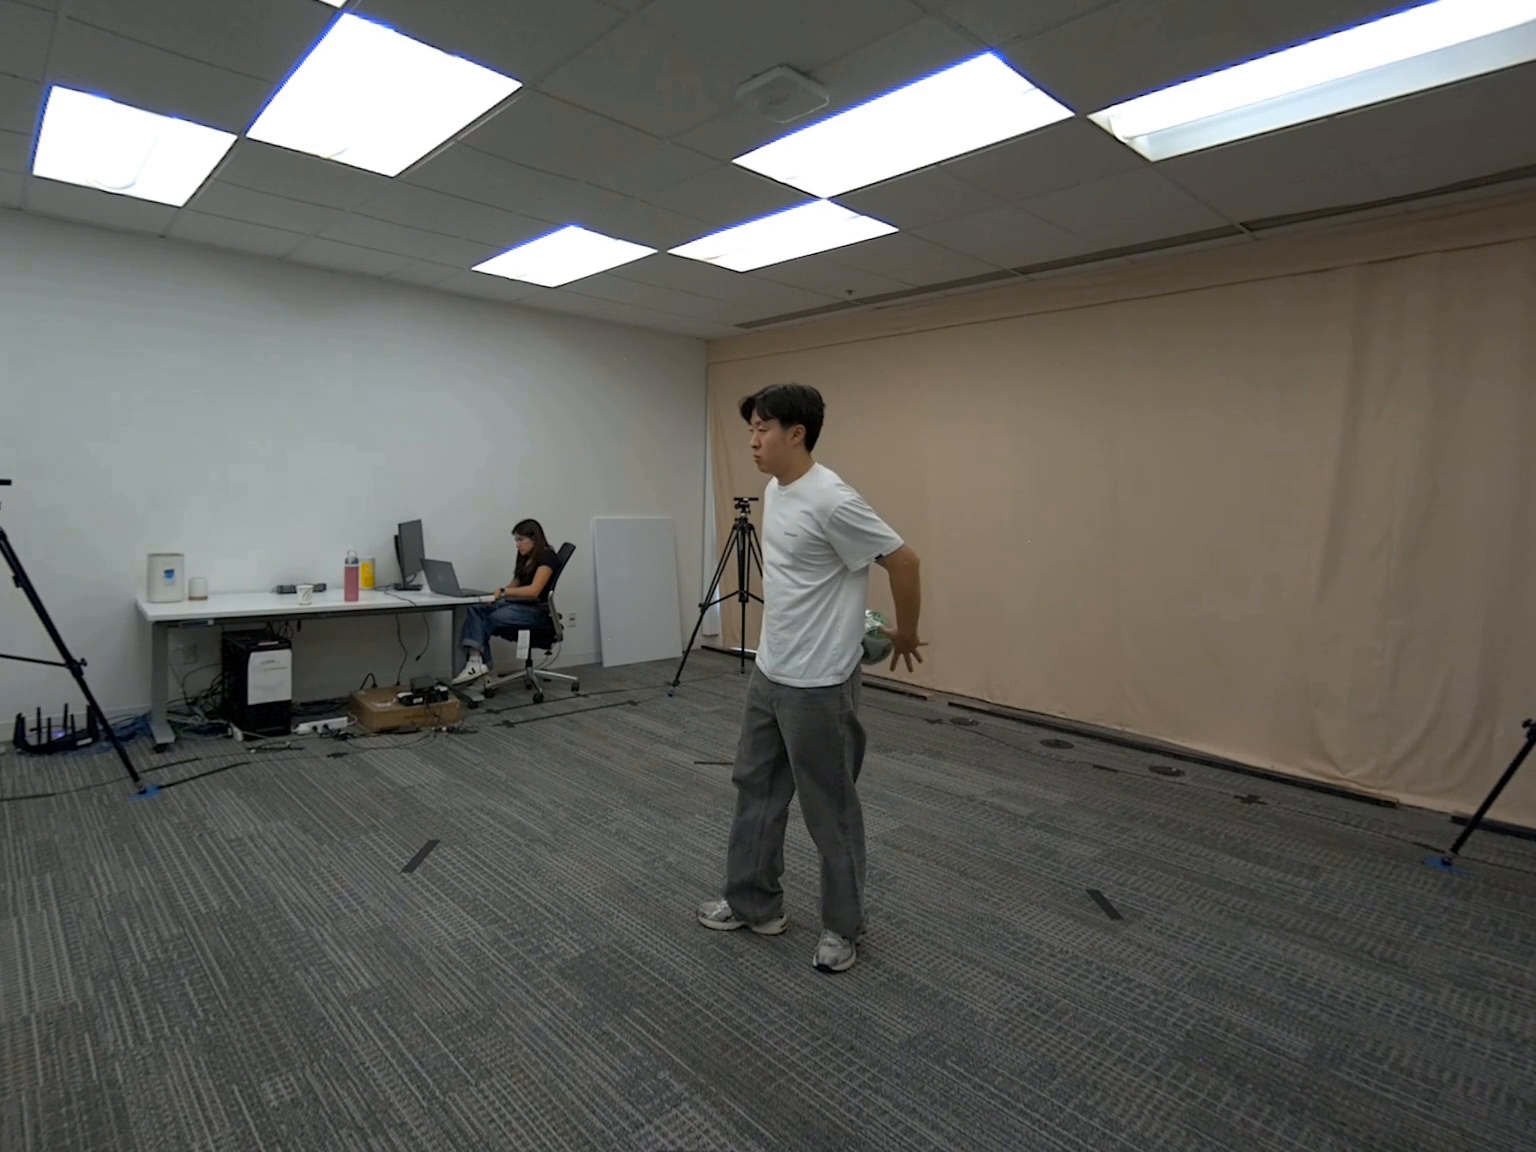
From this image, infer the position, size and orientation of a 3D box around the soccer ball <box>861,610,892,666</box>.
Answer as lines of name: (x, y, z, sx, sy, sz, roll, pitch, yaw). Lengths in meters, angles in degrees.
soccer ball: (0.294, 0.210, 2.816, 0.187, 0.187, 0.188, 1, 4, -1)
